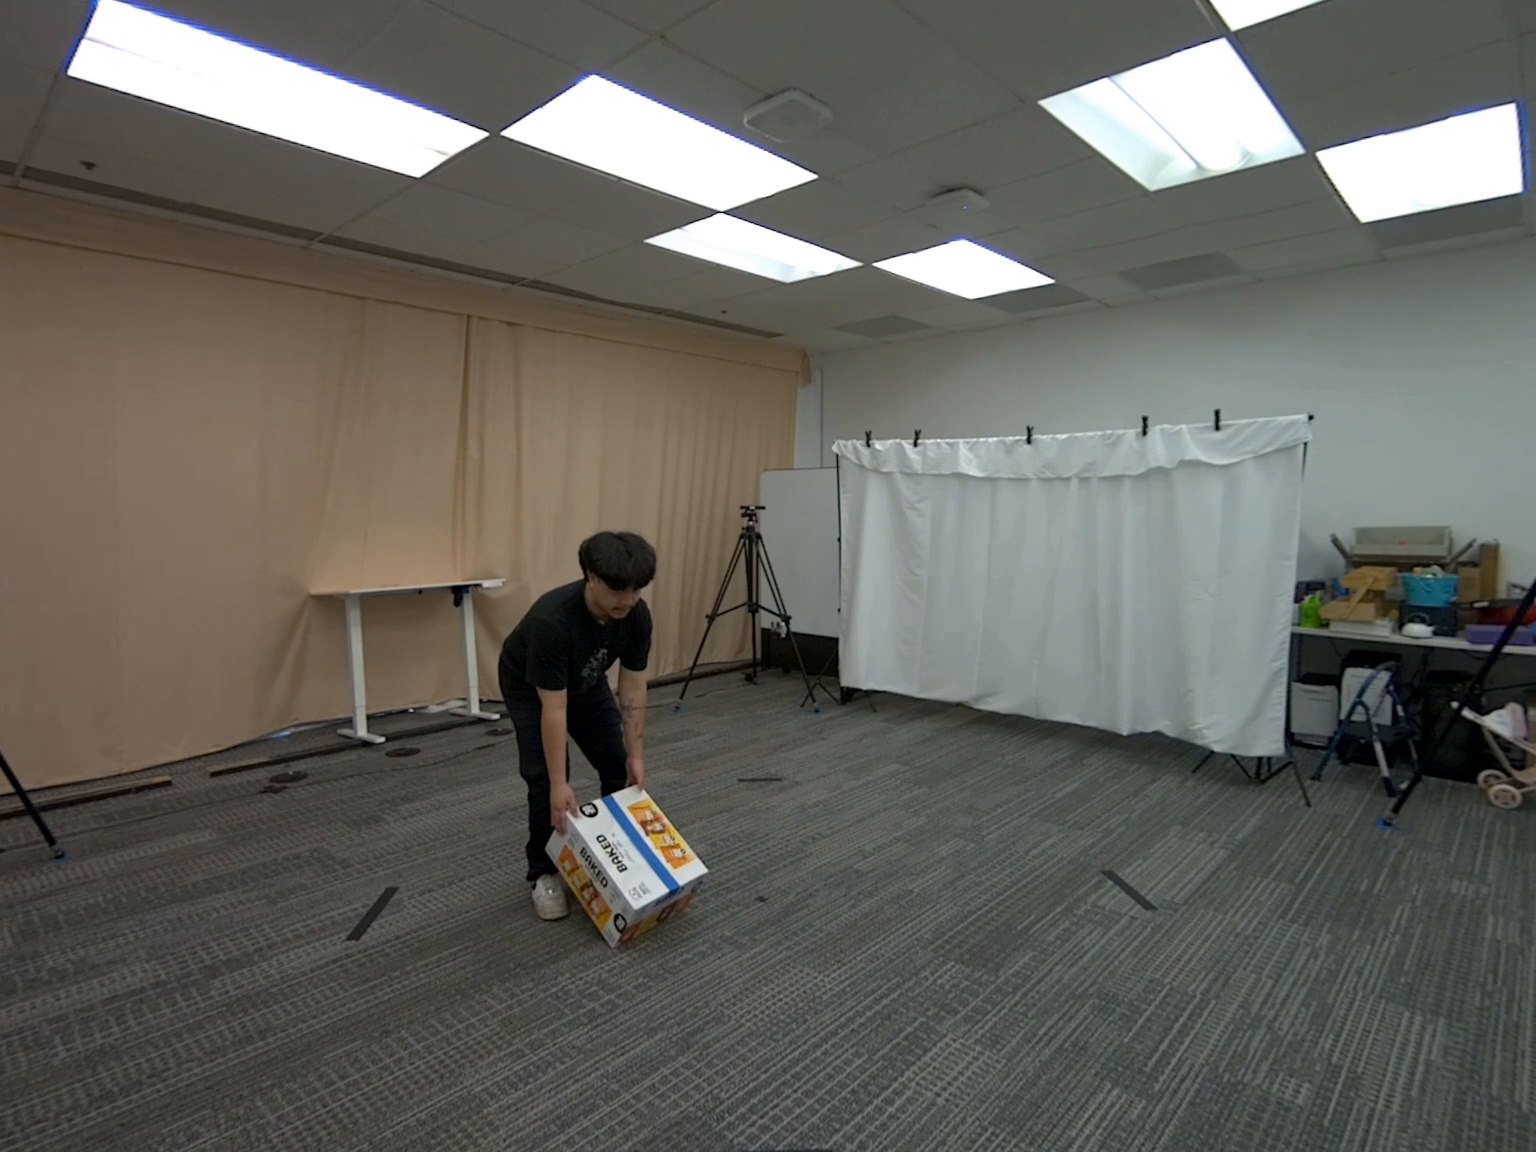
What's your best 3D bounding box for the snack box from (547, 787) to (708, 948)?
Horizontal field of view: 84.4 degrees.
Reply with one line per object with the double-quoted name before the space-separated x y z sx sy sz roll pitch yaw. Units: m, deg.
"snack box" -0.471 0.963 2.828 0.418 0.205 0.330 43 28 28
